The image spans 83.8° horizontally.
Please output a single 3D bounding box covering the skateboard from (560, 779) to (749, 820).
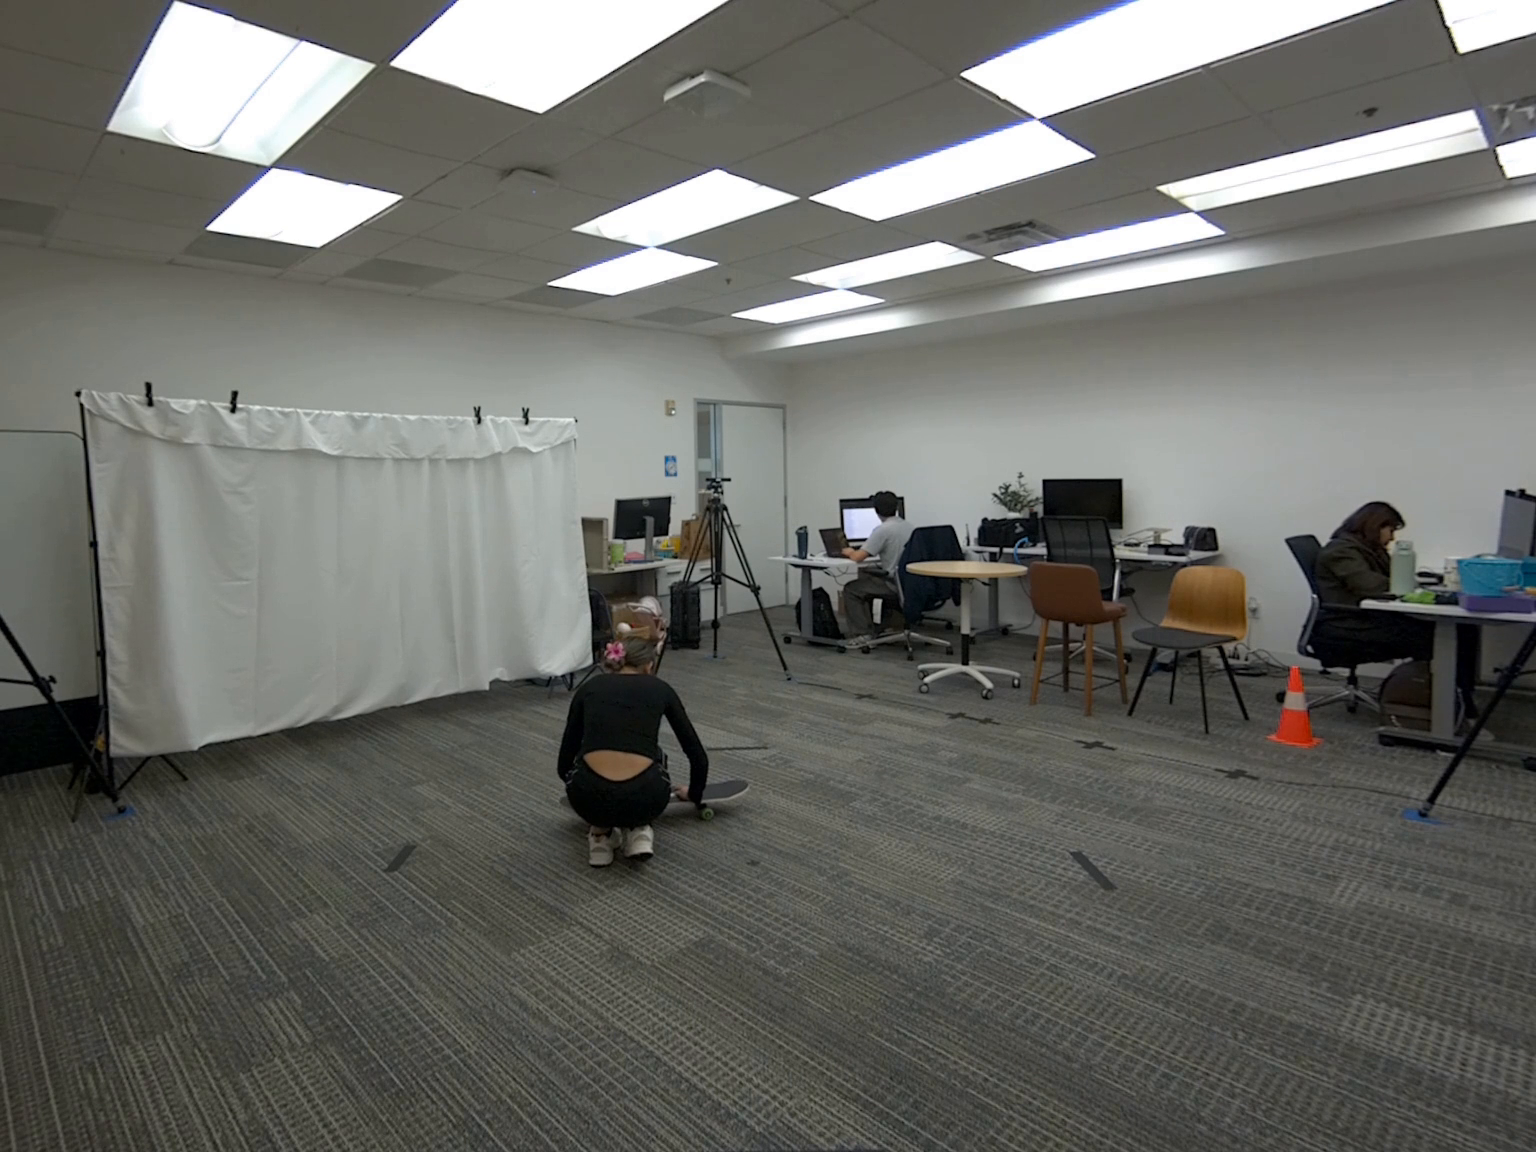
[{"bbox_3d":[-0.460,0.947,3.539,0.776,0.110,0.197,-2,7,-12],"label":"skateboard"}]
